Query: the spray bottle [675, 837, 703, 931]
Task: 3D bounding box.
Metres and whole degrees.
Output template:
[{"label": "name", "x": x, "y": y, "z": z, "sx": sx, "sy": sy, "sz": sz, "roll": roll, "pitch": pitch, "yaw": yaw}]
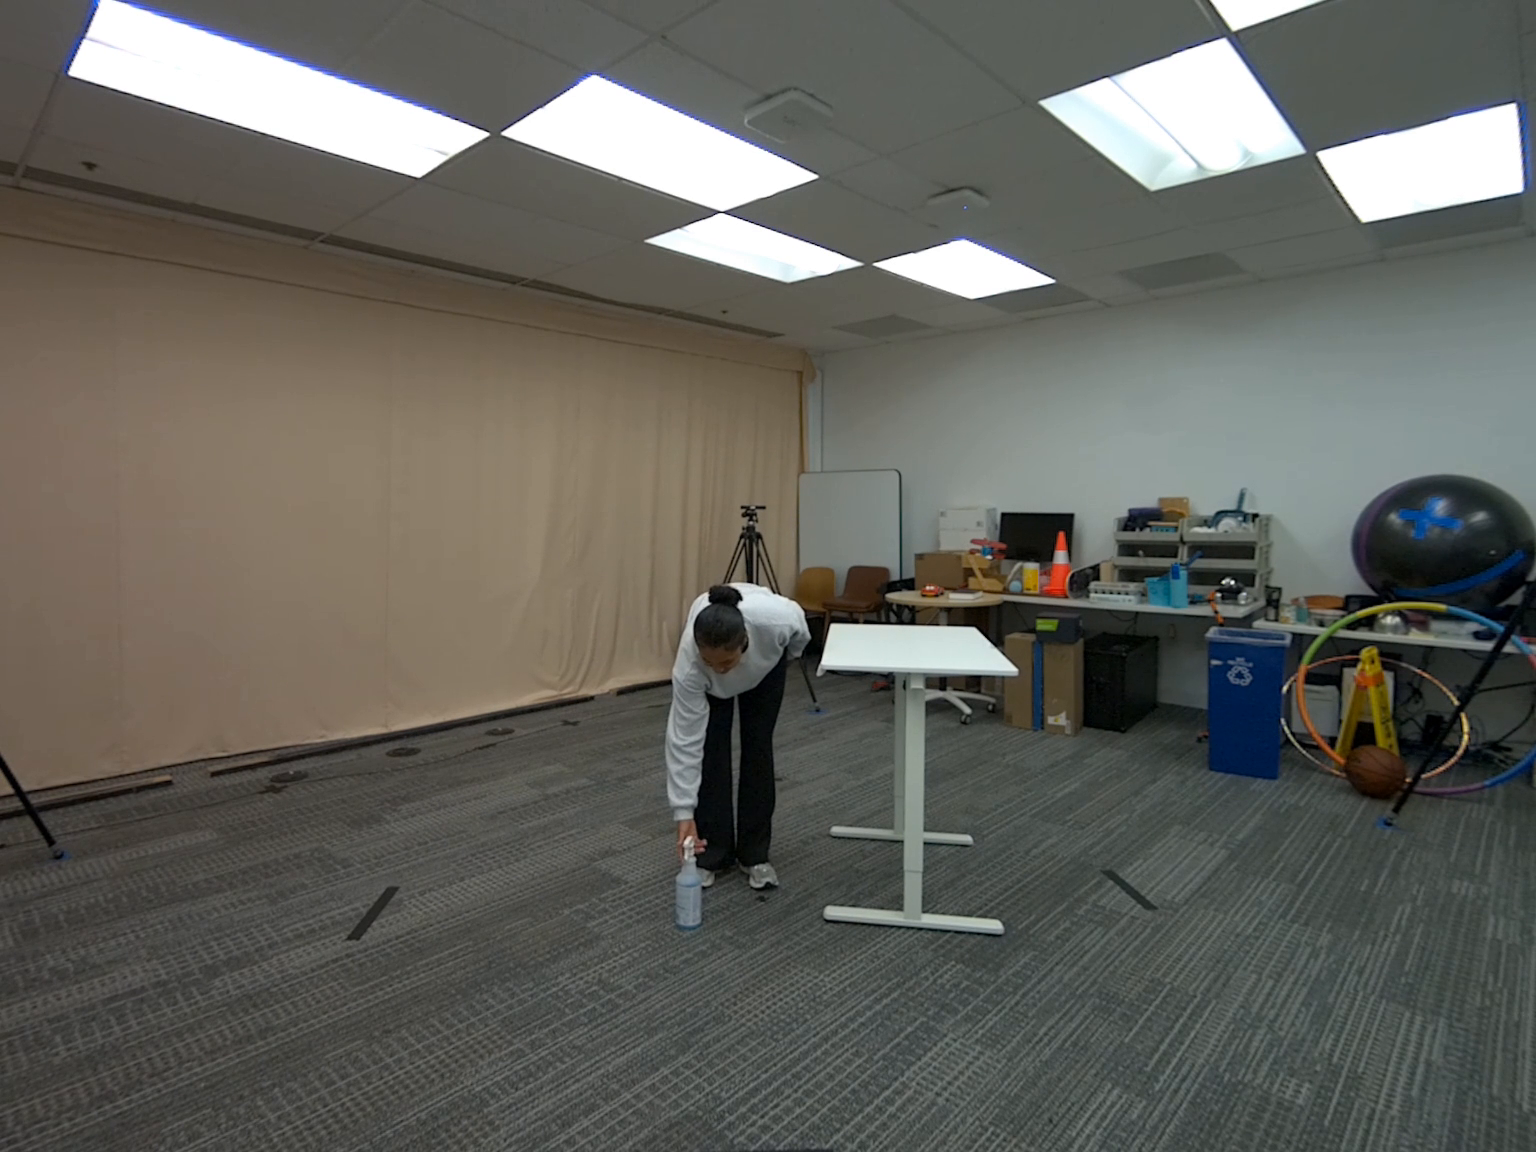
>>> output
[{"label": "spray bottle", "x": -0.259, "y": 1.011, "z": 2.800, "sx": 0.090, "sy": 0.296, "sz": 0.087, "roll": 5, "pitch": 6, "yaw": 34}]
